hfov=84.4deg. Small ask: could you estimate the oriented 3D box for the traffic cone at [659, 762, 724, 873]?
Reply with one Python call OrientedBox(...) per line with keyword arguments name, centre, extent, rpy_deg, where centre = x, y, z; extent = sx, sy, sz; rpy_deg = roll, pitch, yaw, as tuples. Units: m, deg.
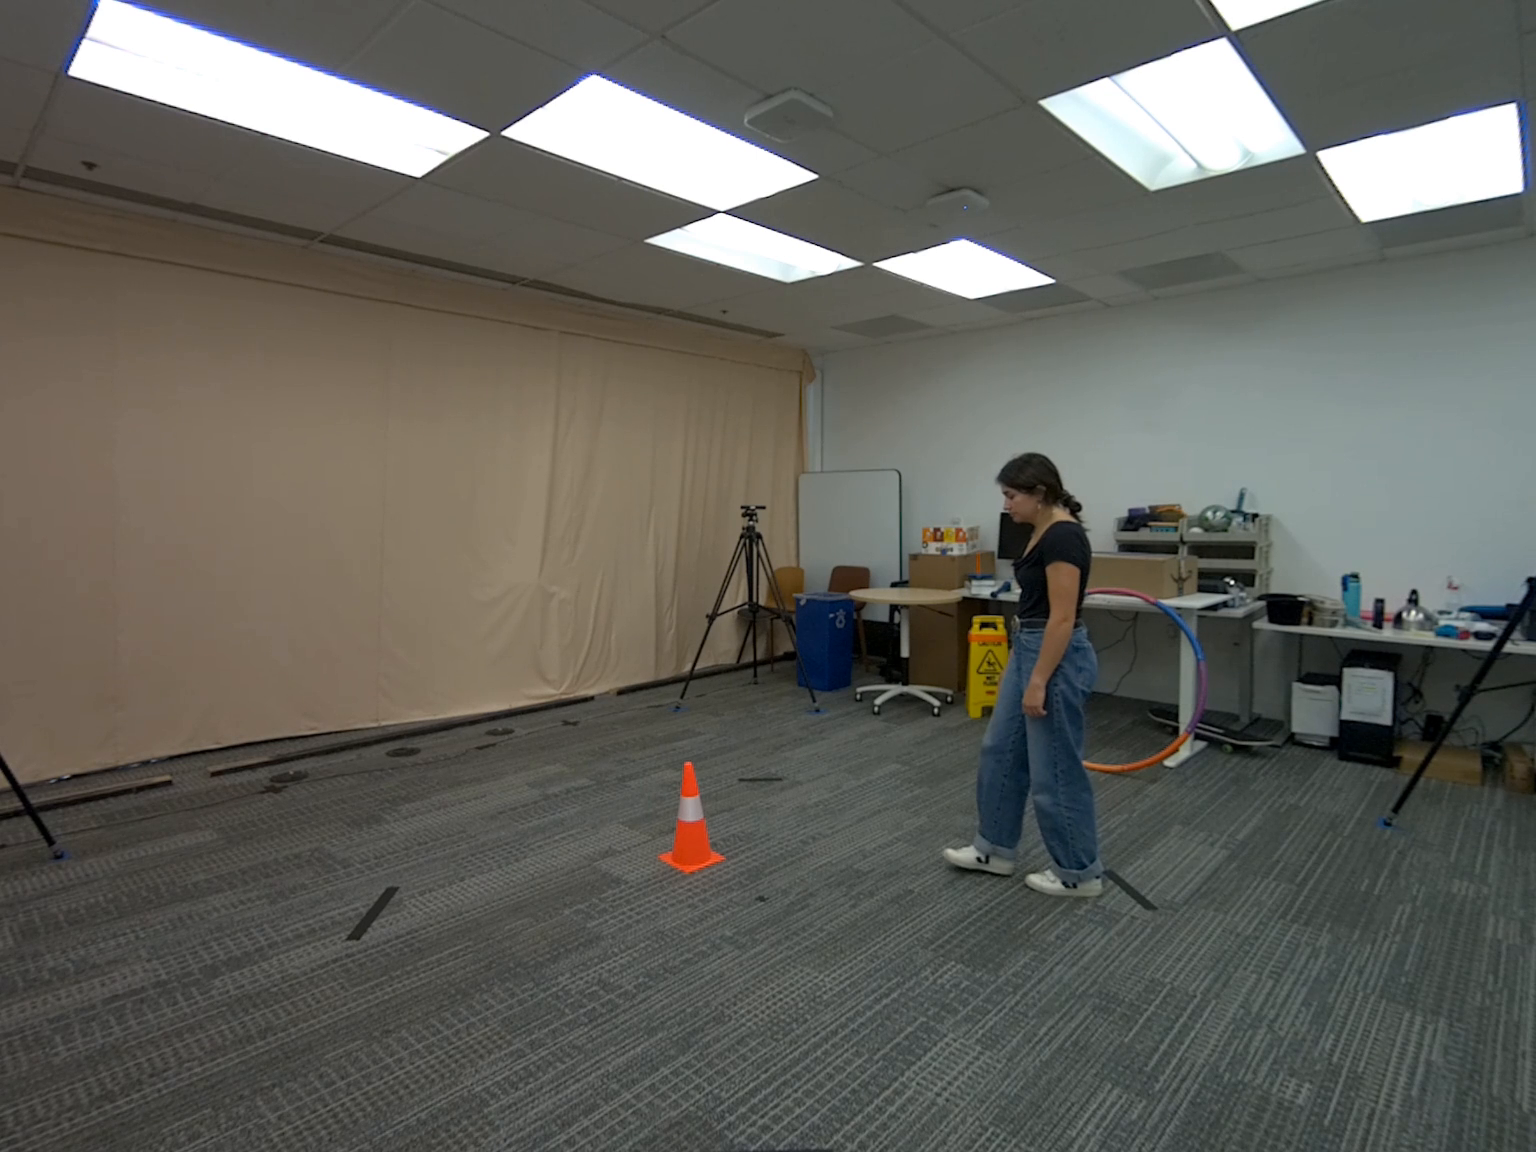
OrientedBox(name="traffic cone", centre=(-0.312, 0.937, 3.322), extent=(0.197, 0.383, 0.211), rpy_deg=(-6, 5, -41))
